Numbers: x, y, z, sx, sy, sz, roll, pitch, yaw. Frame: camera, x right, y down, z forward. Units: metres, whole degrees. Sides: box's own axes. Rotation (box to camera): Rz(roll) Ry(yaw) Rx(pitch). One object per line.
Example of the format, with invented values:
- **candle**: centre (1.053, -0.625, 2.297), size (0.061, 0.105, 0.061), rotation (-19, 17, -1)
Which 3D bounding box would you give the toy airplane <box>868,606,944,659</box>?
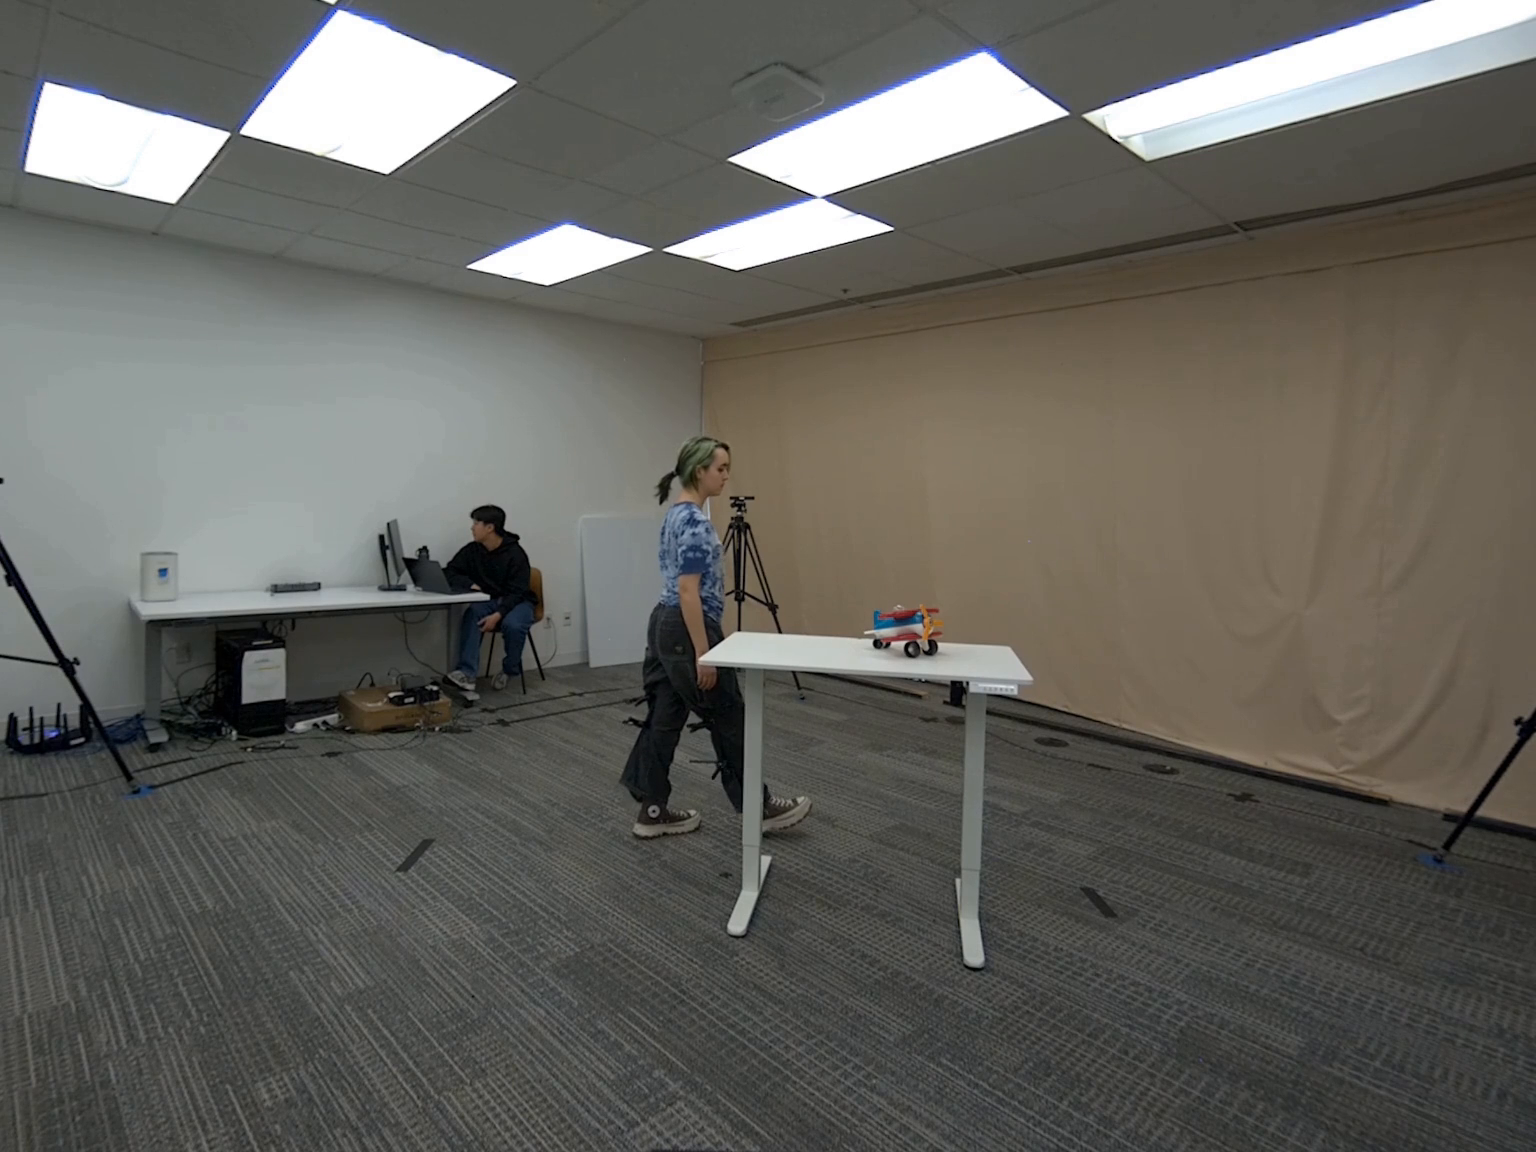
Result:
- **toy airplane**: centre (0.441, 0.186, 2.827), size (0.264, 0.156, 0.247), rotation (4, 4, 24)
